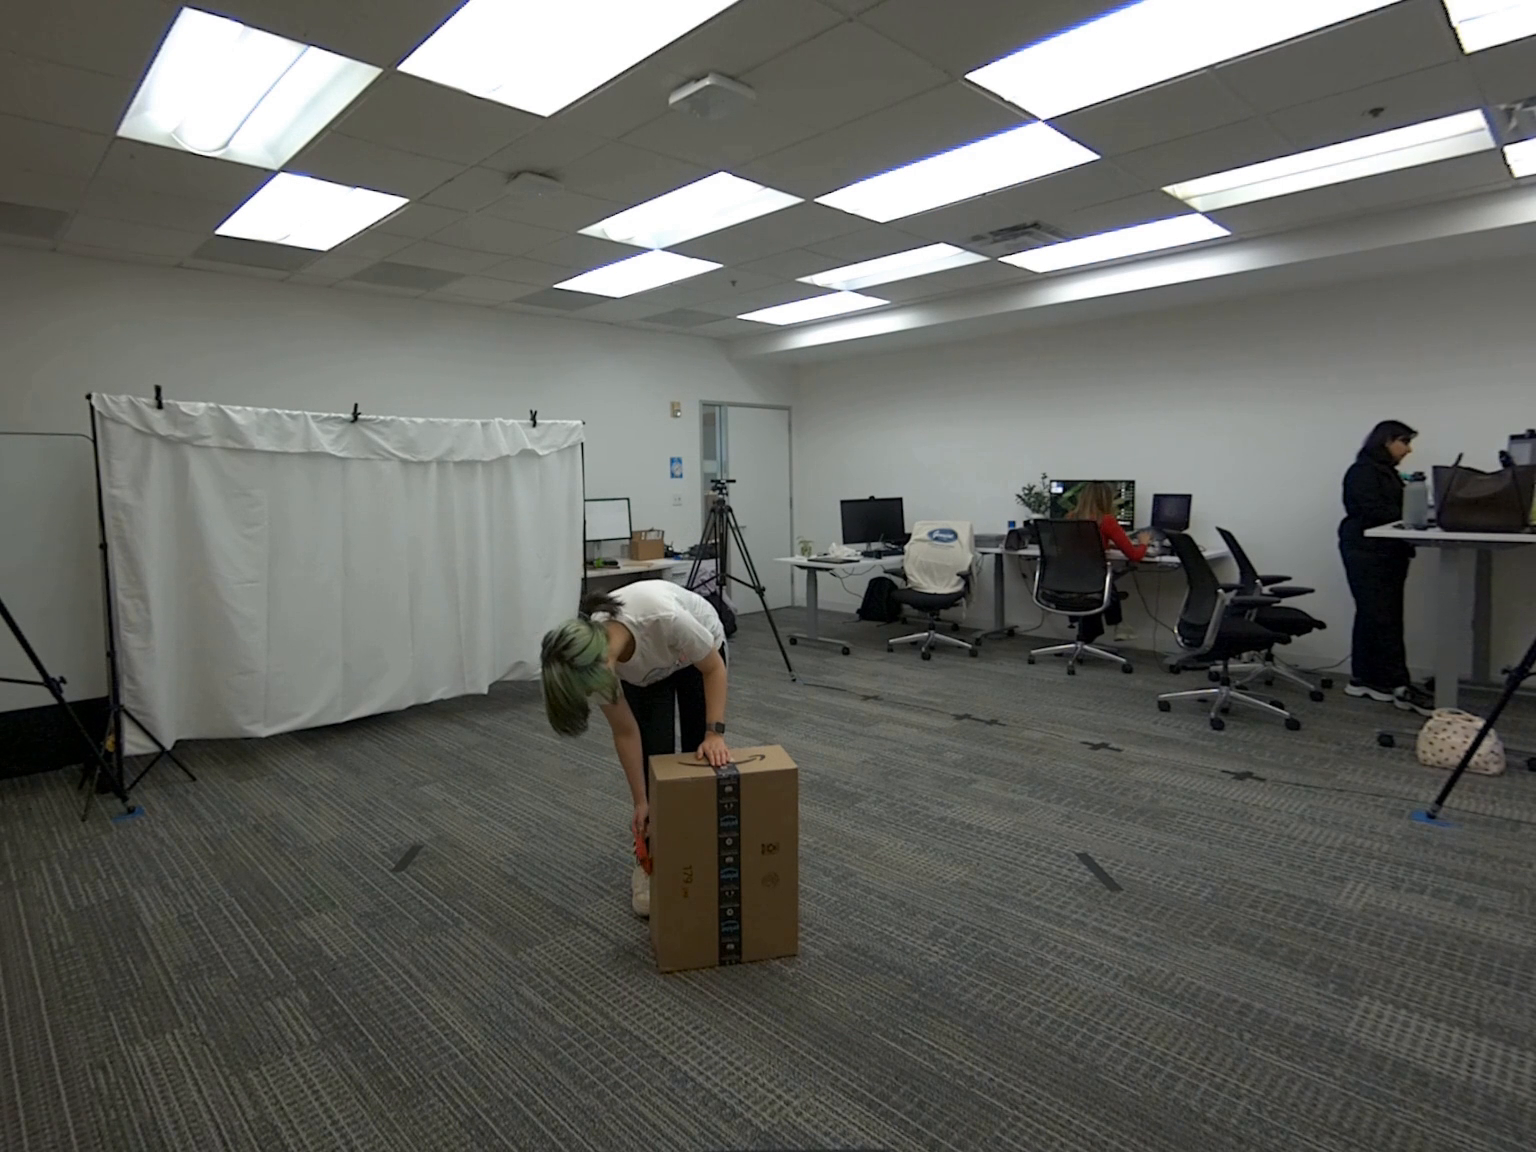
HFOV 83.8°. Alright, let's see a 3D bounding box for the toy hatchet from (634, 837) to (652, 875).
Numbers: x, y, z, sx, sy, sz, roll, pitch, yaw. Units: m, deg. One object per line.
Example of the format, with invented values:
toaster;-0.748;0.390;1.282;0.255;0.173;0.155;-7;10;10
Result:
toy hatchet;-0.365;0.838;2.646;0.030;0.131;0.267;-16;-2;7
